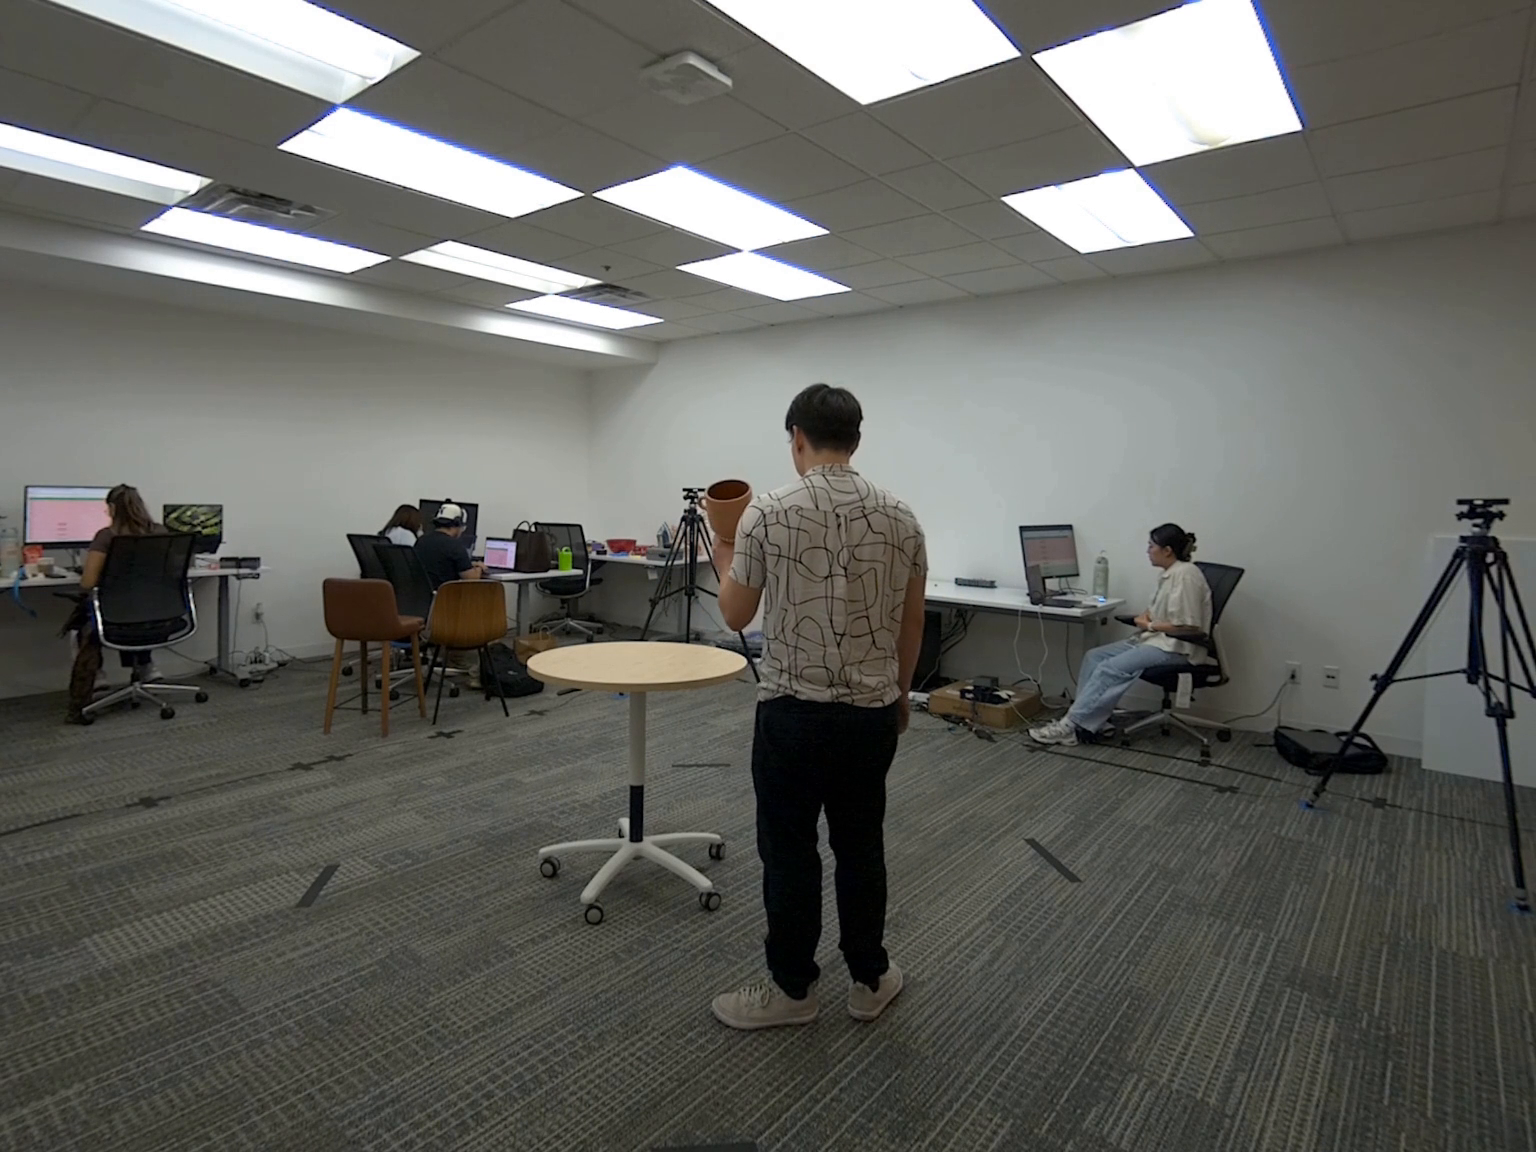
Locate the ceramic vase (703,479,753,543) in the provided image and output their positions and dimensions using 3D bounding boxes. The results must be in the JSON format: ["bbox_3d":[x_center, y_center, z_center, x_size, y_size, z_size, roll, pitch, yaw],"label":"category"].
[{"bbox_3d":[-0.108,-0.151,2.412,0.133,0.213,0.165,-21,35,-22],"label":"ceramic vase"}]
